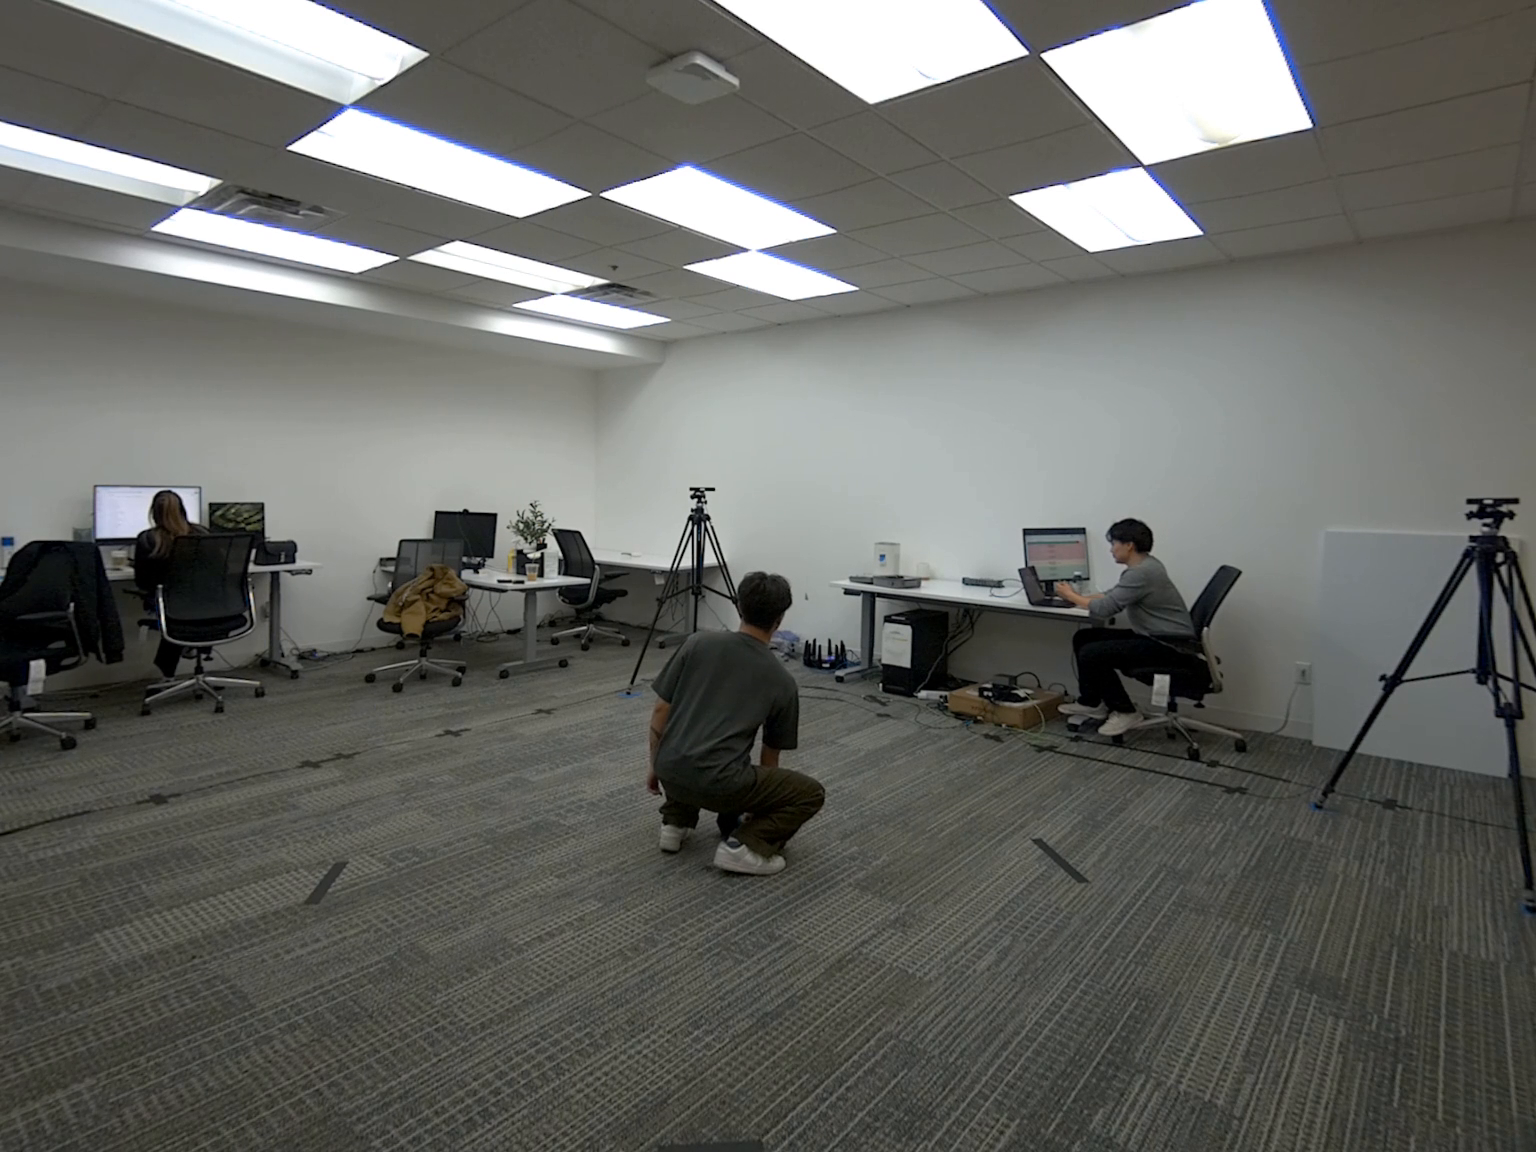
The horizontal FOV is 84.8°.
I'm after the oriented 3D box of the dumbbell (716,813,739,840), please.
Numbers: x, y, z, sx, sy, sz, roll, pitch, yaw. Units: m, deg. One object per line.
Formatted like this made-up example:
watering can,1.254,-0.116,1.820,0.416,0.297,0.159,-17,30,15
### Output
dumbbell,-0.073,0.990,3.362,0.303,0.124,0.104,6,-24,39
